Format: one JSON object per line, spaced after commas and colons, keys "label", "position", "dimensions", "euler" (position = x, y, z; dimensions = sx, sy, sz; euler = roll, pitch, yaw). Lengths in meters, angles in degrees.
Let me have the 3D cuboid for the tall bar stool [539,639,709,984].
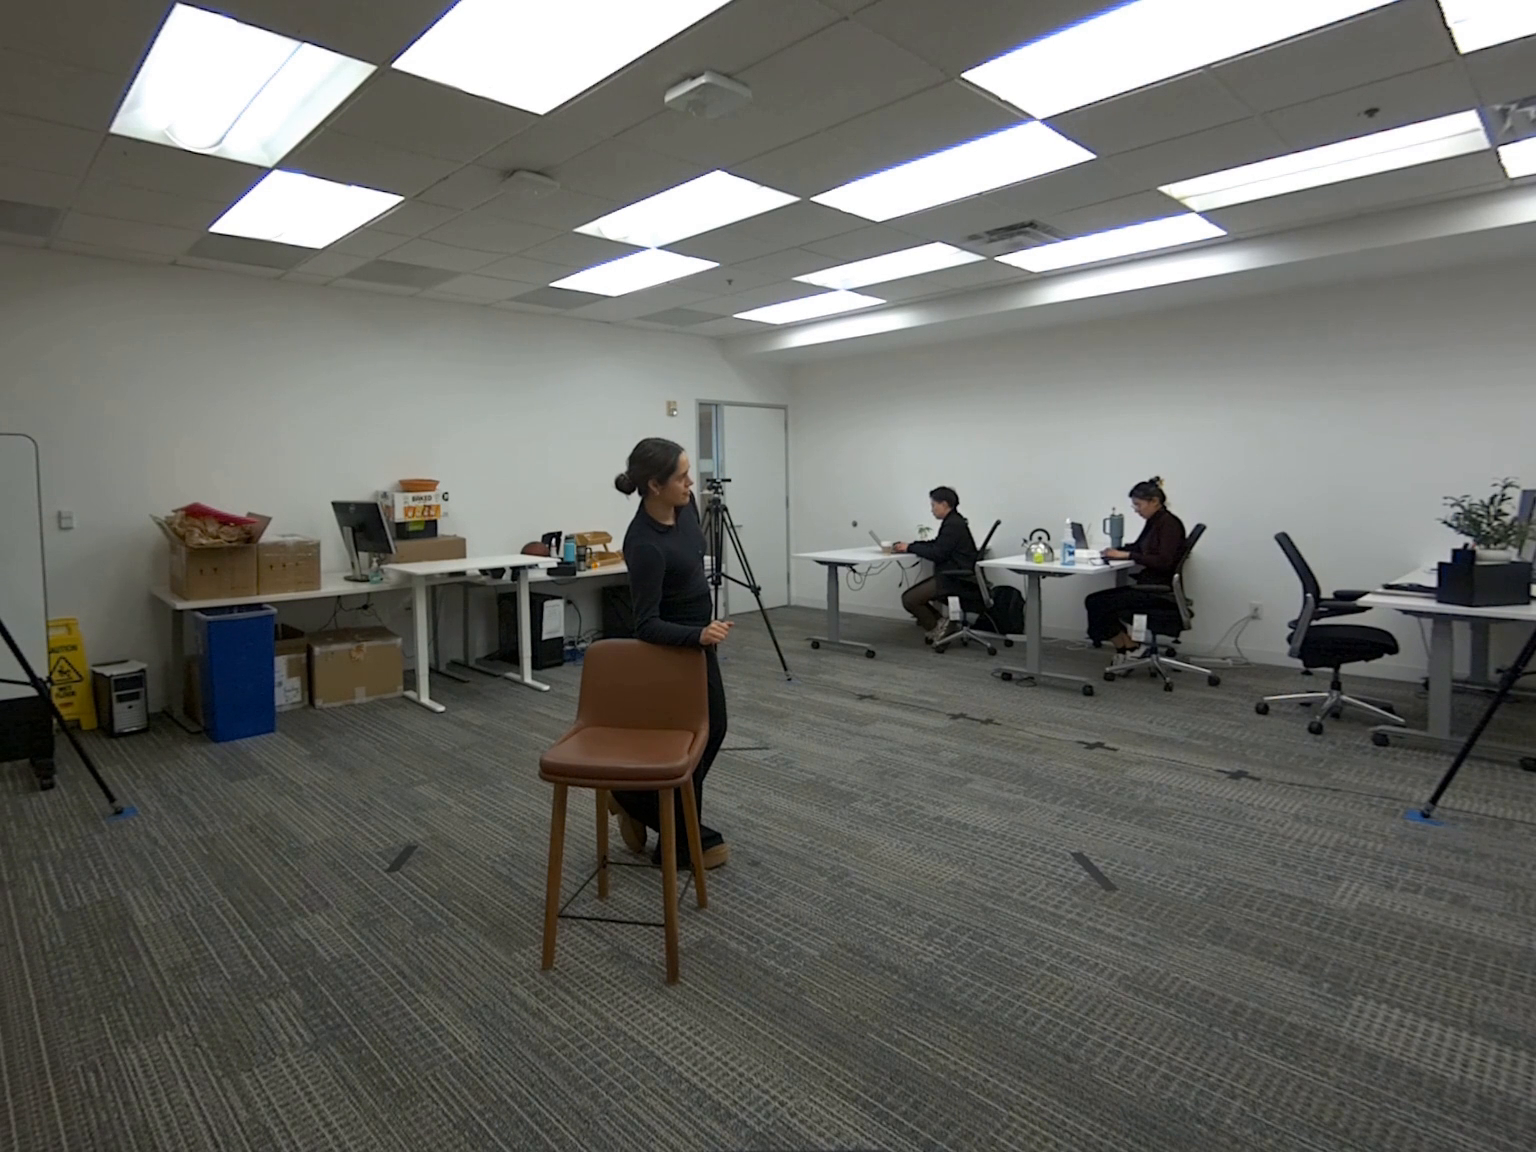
{"label": "tall bar stool", "position": [-0.425, 0.676, 2.606], "dimensions": [0.462, 0.888, 0.463], "euler": [0, 2, 11]}
